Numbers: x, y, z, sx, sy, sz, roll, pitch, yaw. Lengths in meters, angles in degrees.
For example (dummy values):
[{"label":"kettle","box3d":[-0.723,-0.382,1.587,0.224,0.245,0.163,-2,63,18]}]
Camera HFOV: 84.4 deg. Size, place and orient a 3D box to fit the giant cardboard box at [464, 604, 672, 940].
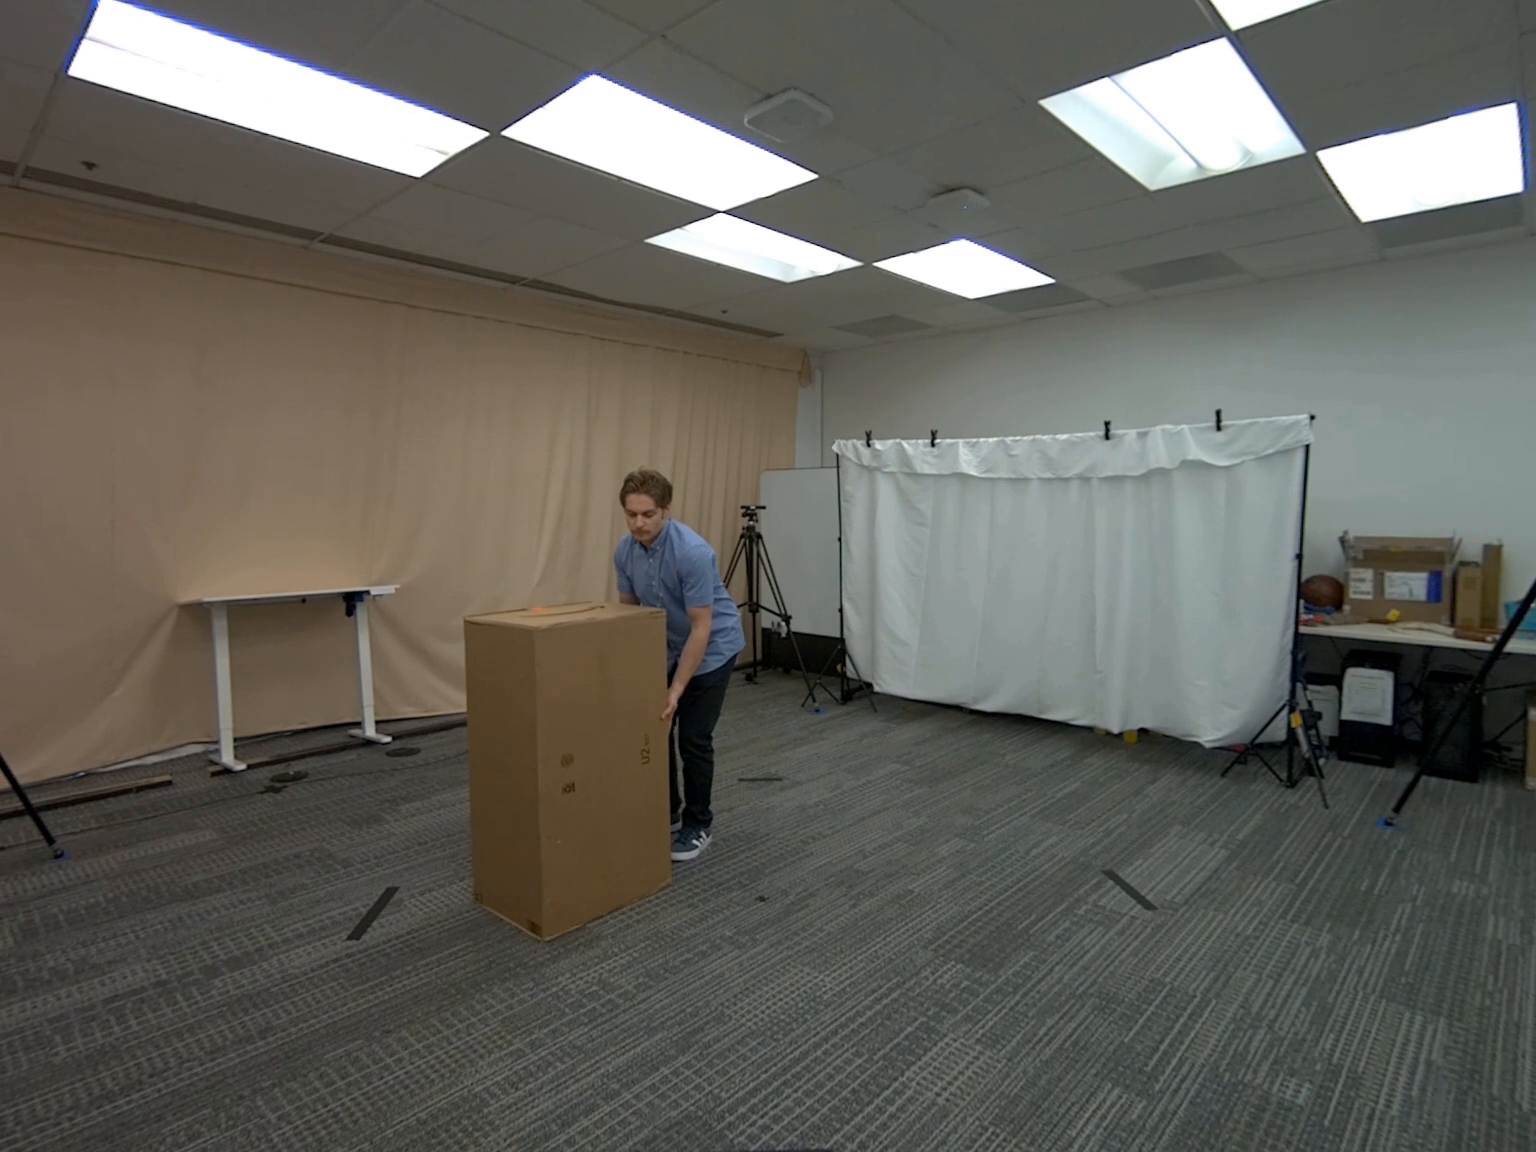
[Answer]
[{"label":"giant cardboard box","box3d":[-0.710,0.640,3.004,0.440,1.024,0.560,2,4,41]}]
